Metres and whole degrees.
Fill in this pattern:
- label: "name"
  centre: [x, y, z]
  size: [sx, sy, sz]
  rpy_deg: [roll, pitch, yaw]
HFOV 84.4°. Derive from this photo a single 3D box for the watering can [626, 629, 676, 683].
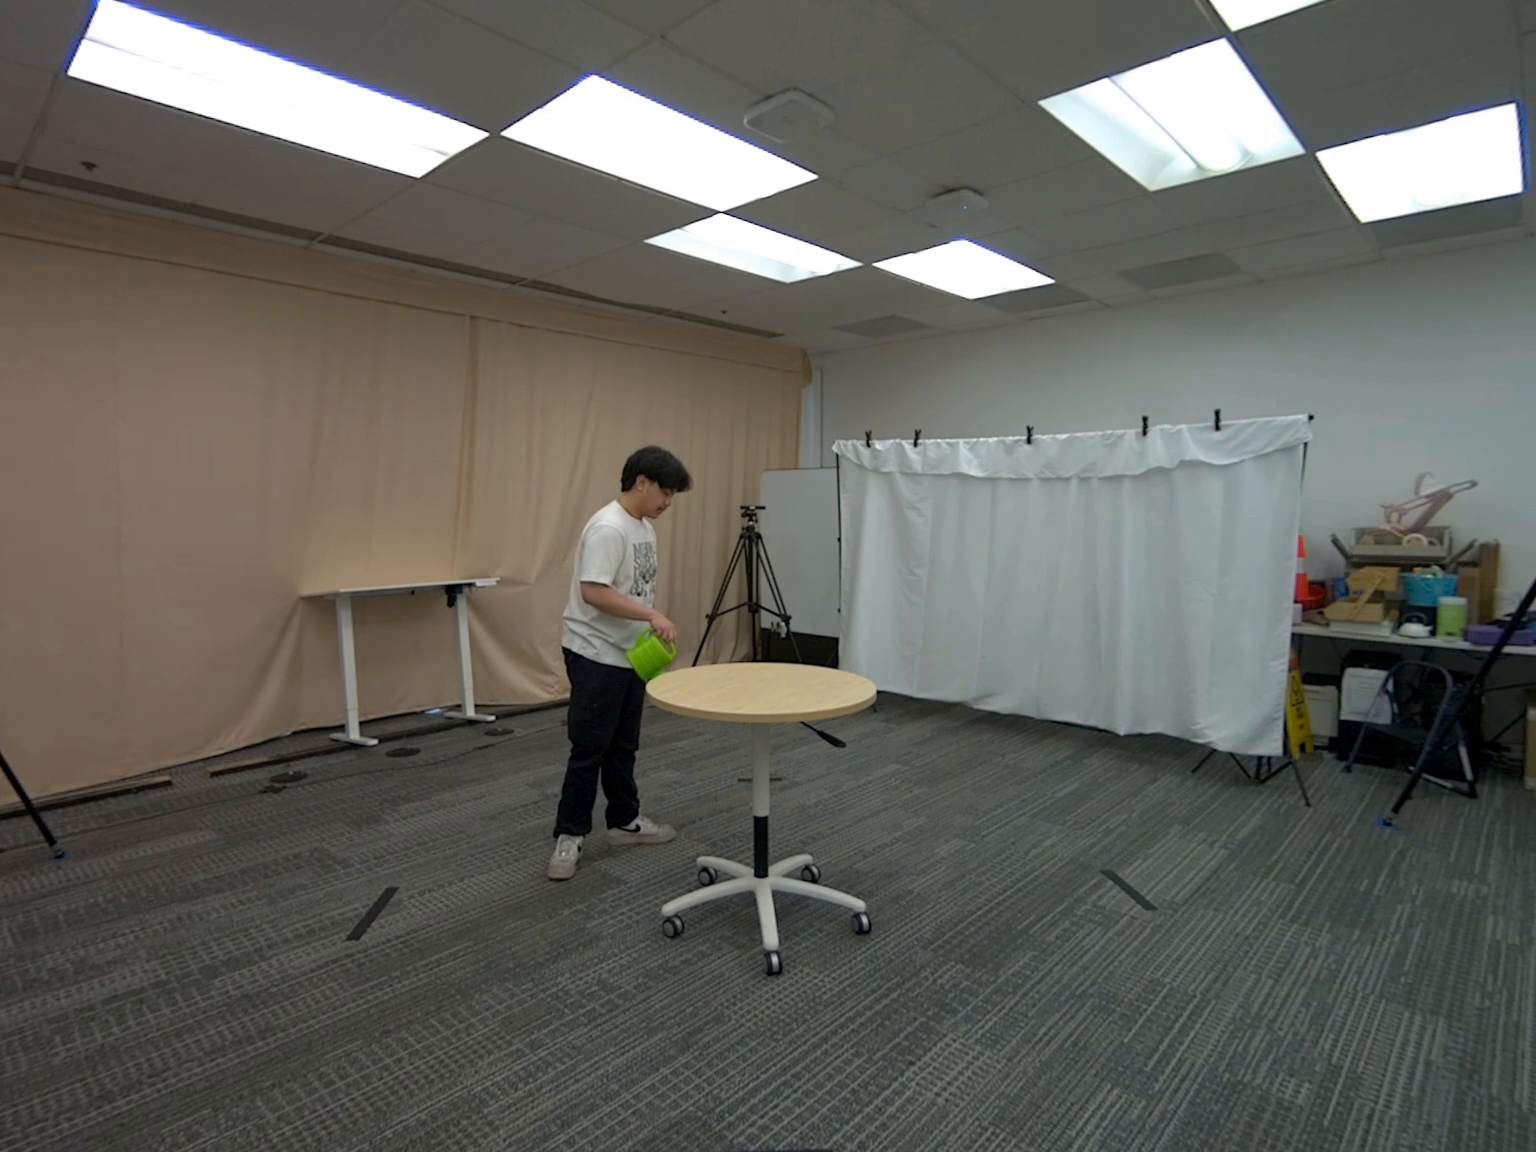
- label: "watering can"
  centre: [-0.413, 0.334, 3.191]
  size: [0.176, 0.280, 0.098]
  rpy_deg: [-36, -4, -5]
